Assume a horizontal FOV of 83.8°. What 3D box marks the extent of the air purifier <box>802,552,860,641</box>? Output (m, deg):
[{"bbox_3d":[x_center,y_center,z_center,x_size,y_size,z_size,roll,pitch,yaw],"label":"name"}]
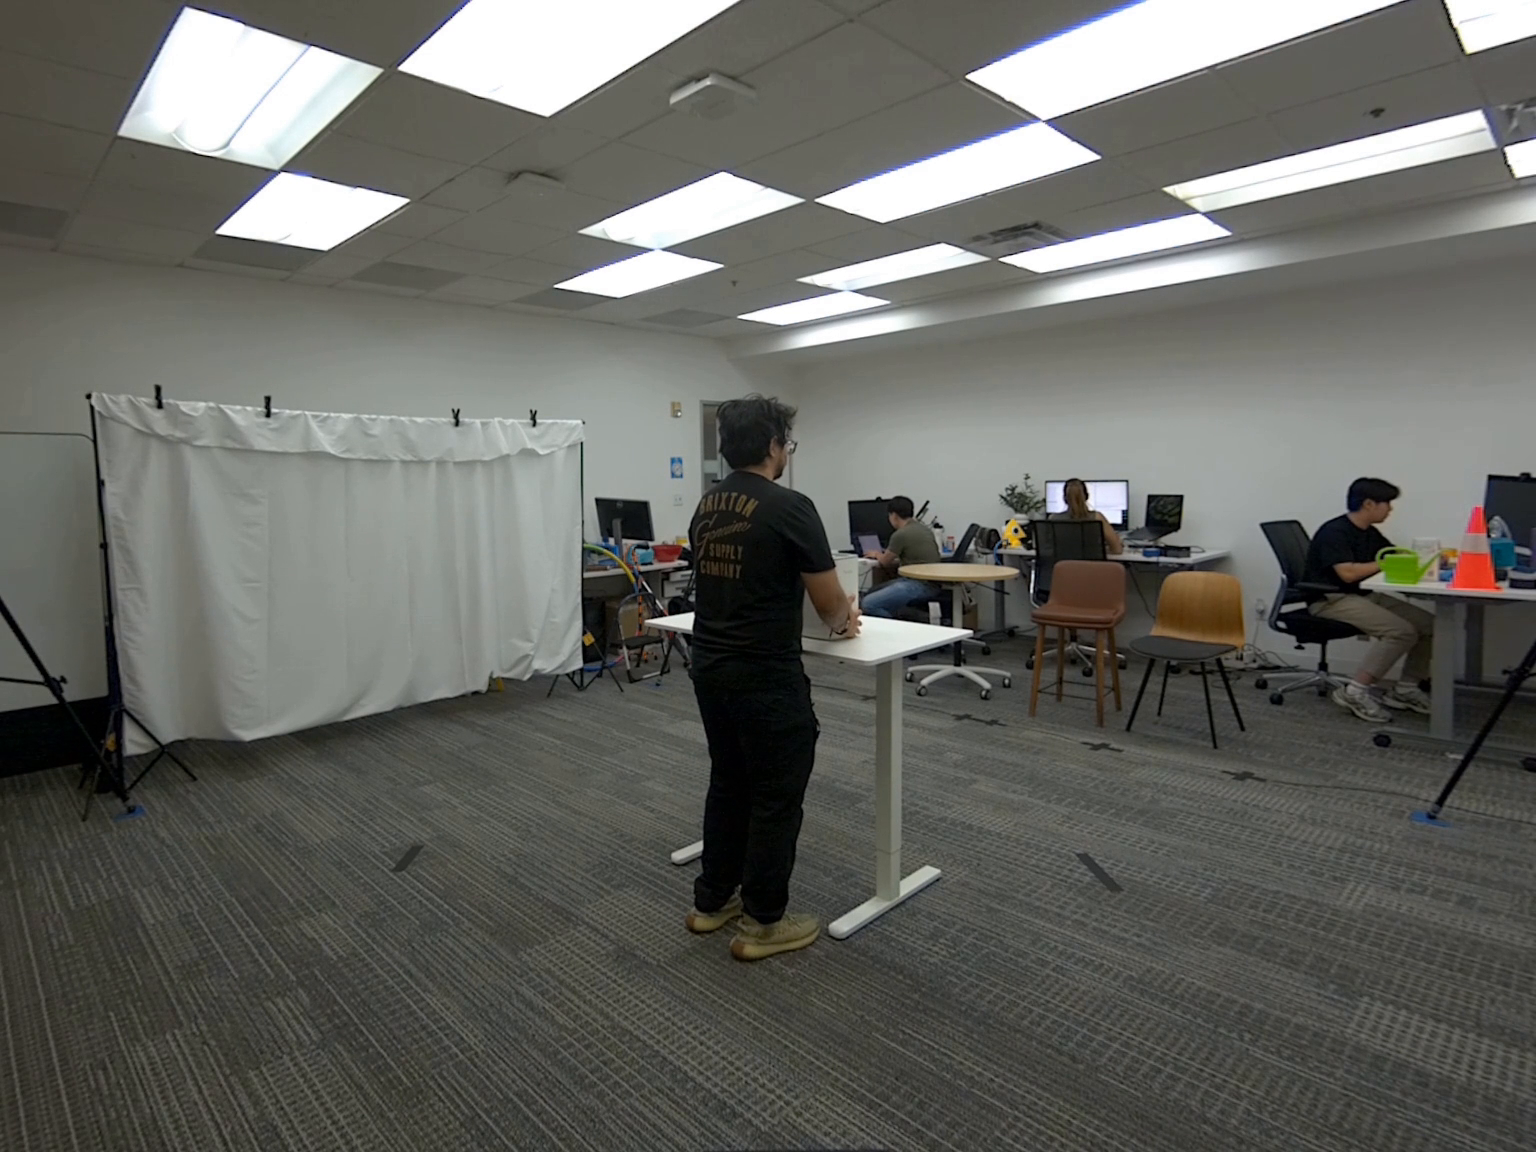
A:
[{"bbox_3d":[0.201,0.063,2.793,0.177,0.264,0.166,4,7,44],"label":"air purifier"}]
